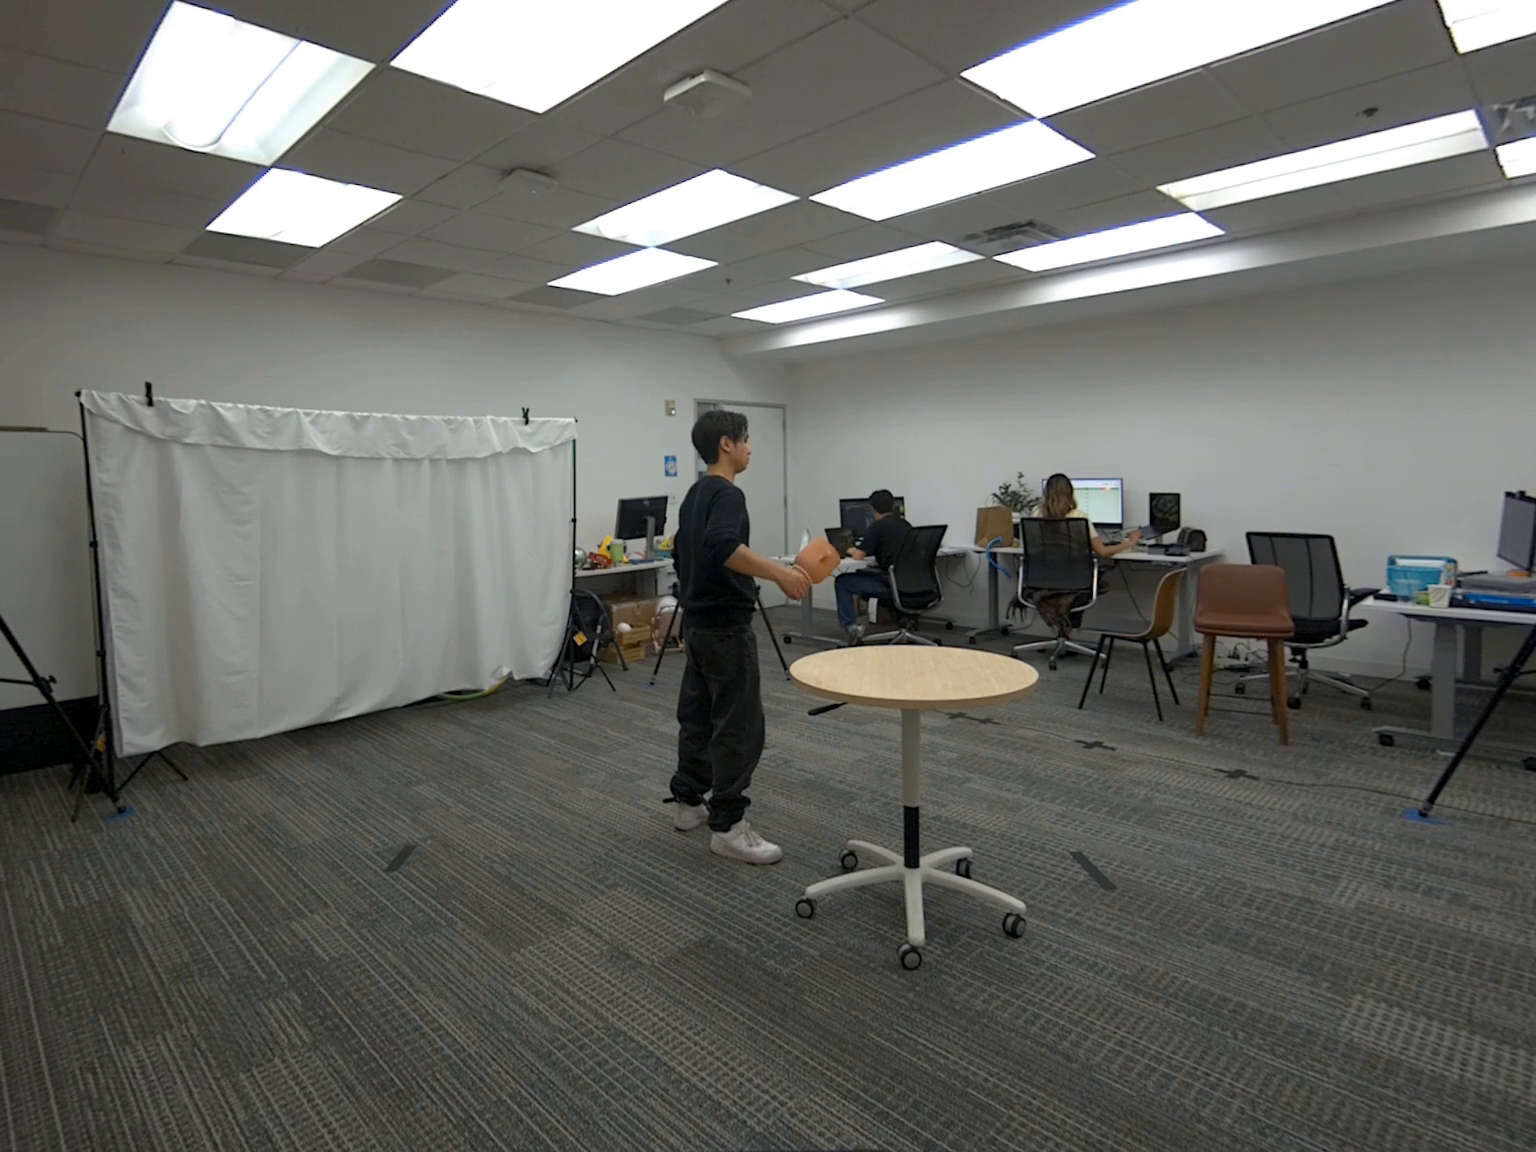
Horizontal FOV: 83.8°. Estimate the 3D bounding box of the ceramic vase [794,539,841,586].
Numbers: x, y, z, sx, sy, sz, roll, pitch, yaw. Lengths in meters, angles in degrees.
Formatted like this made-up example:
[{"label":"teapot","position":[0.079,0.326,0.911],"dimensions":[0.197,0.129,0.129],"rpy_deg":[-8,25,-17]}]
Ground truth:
[{"label":"ceramic vase","position":[0.139,-0.015,3.088],"dimensions":[0.140,0.219,0.153],"rpy_deg":[37,-18,33]}]
